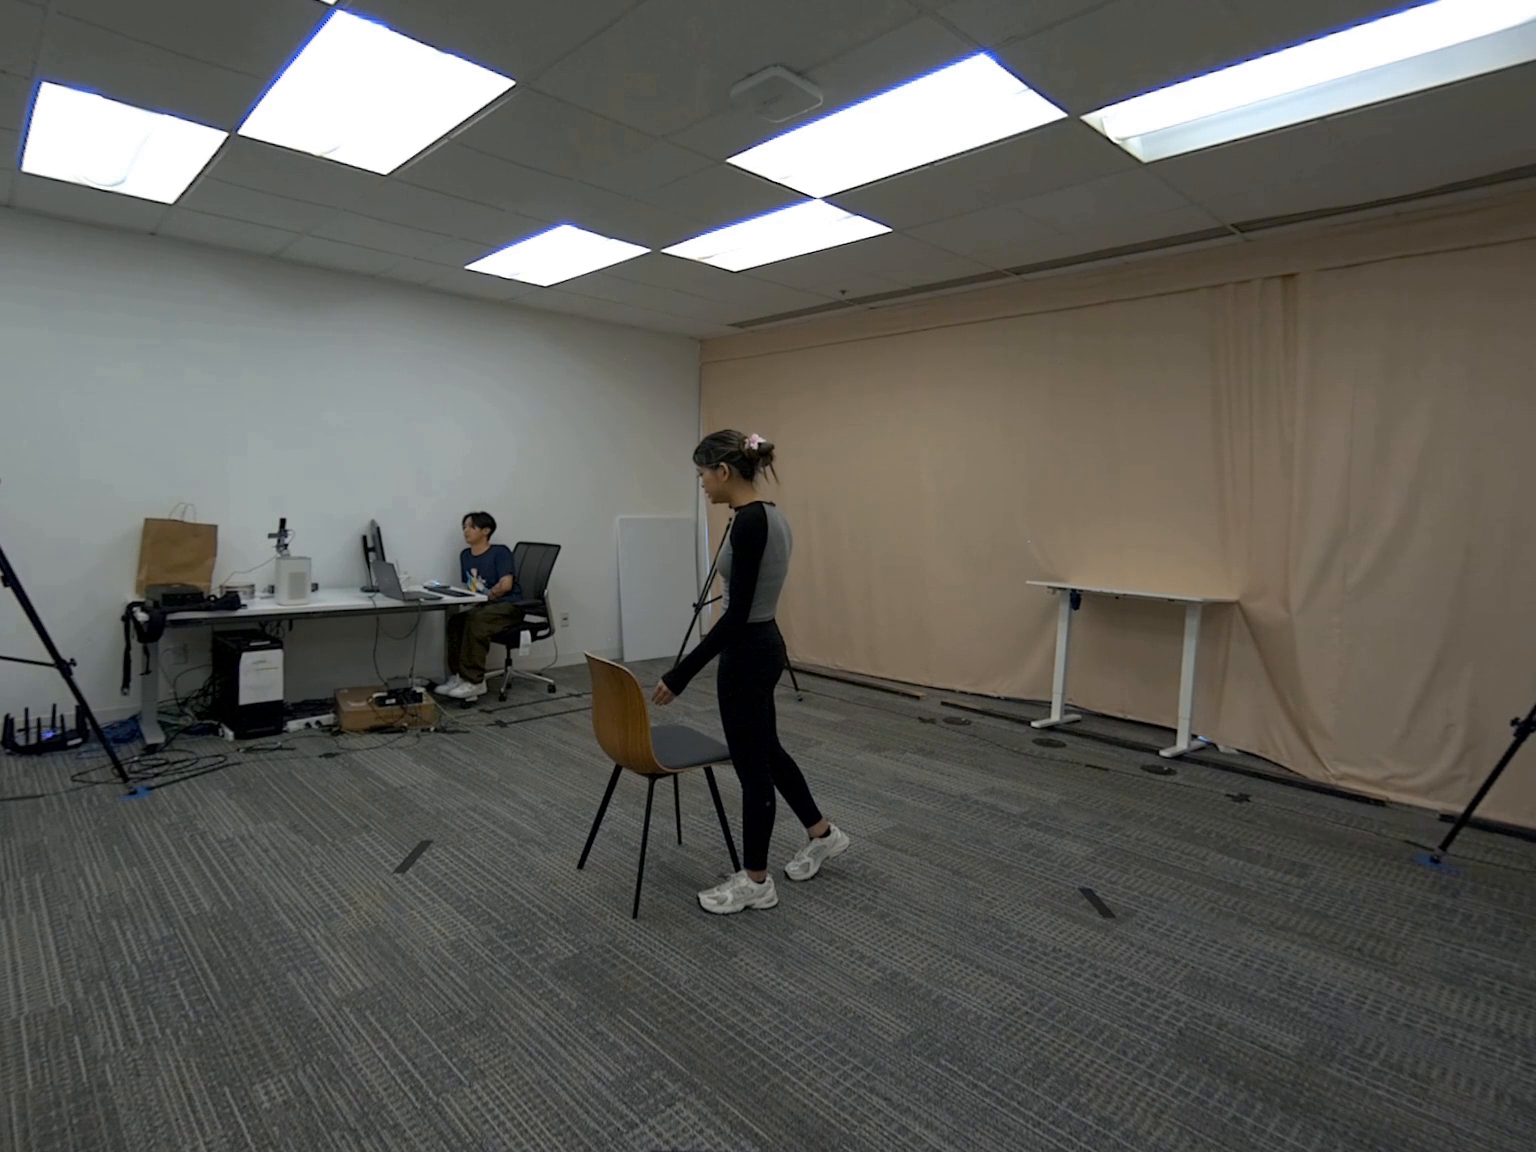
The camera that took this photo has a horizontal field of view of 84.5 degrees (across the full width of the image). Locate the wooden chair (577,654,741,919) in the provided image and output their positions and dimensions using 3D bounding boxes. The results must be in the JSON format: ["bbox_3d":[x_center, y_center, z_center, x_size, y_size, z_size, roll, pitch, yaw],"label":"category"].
[{"bbox_3d":[-0.385,0.677,3.057,0.513,0.874,0.490,-6,7,-36],"label":"wooden chair"}]
